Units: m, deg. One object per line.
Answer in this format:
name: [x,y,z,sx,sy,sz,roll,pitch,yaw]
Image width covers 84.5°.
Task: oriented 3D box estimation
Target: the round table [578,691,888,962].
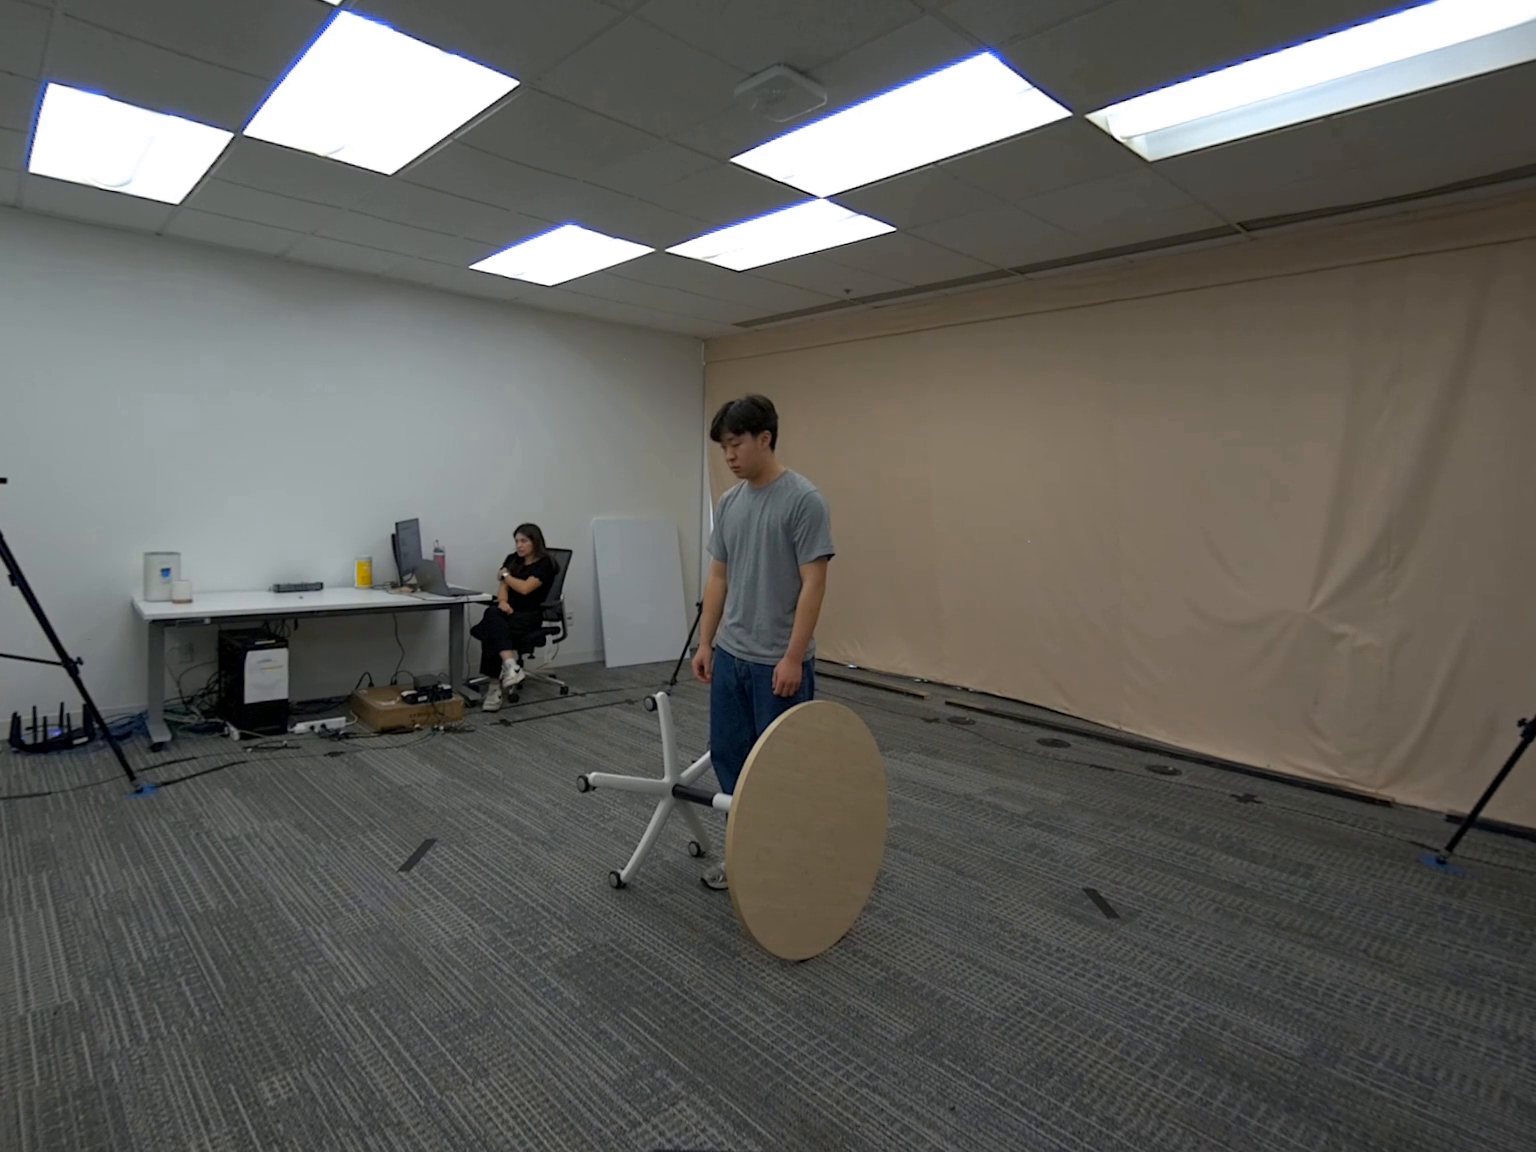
round table: [-0.153,0.788,2.869,0.812,0.764,0.747,-3,1,43]
